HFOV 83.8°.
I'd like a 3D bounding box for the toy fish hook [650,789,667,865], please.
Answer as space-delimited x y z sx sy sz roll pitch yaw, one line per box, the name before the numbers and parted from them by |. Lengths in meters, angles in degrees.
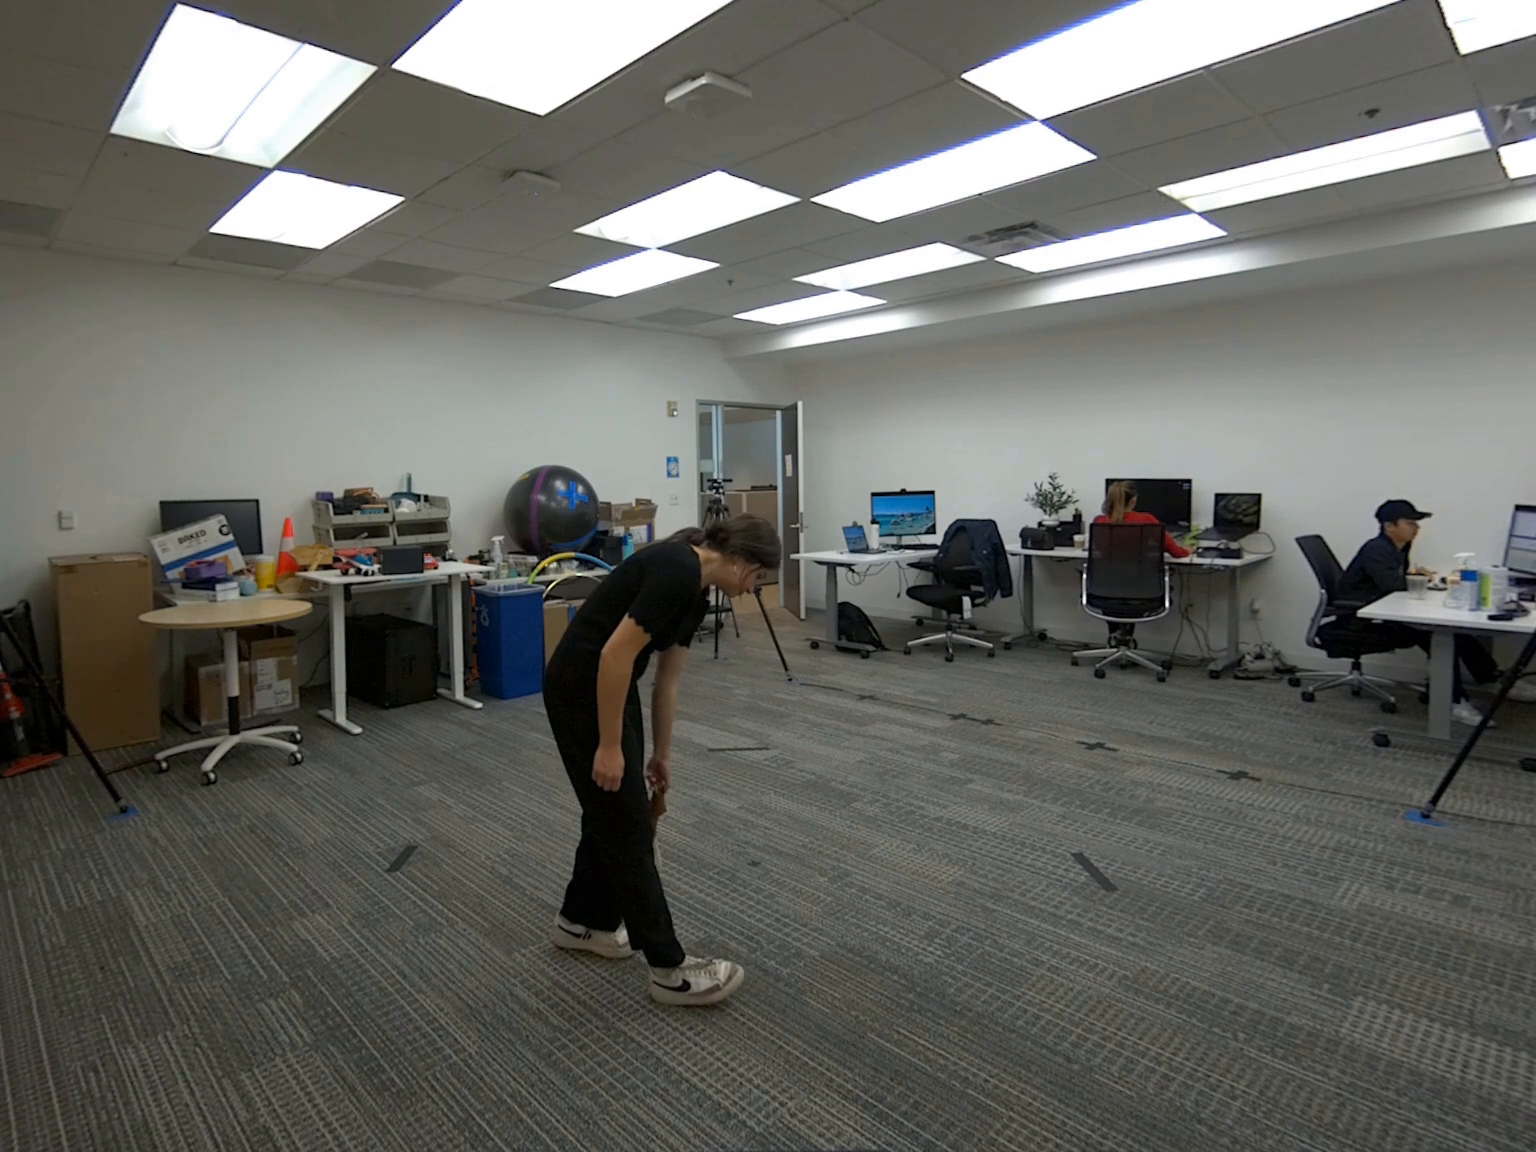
toy fish hook | -0.417 0.869 2.688 0.219 0.499 0.050 -7 29 -36
